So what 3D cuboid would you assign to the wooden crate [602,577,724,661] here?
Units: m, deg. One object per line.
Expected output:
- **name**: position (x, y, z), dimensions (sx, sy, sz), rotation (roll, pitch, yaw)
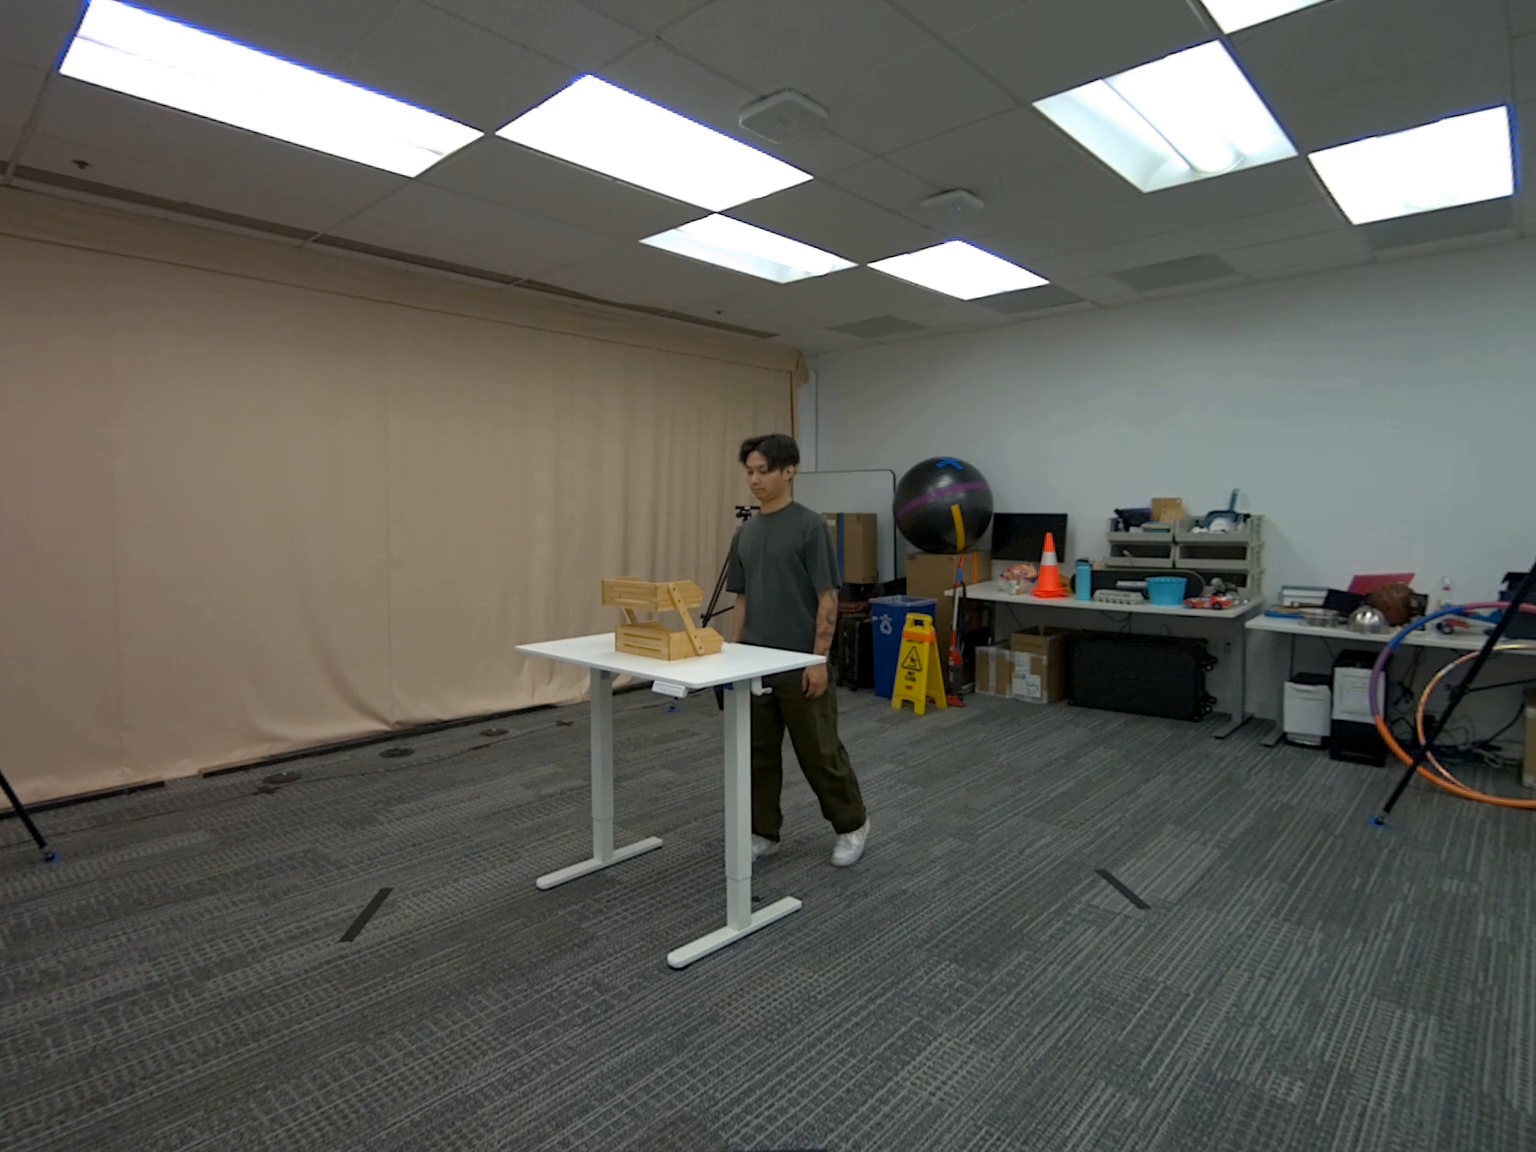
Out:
- **wooden crate**: position (-0.366, 0.135, 2.941), dimensions (0.335, 0.273, 0.293), rotation (3, 5, 44)
